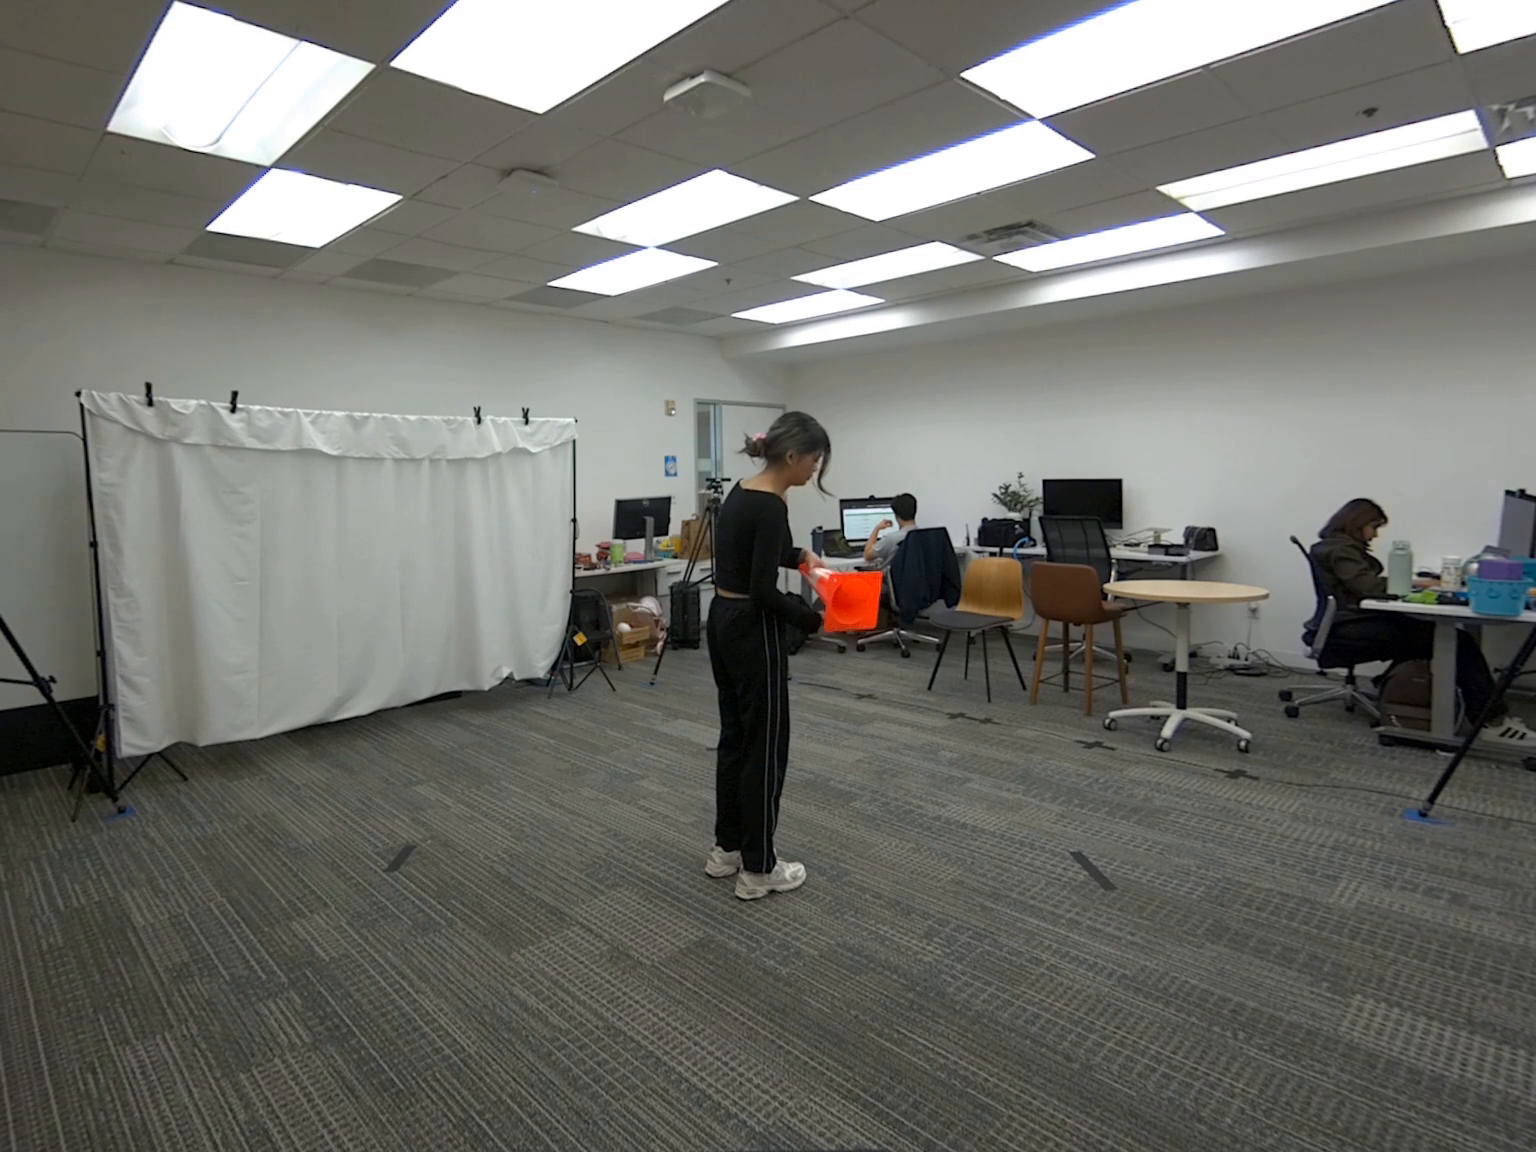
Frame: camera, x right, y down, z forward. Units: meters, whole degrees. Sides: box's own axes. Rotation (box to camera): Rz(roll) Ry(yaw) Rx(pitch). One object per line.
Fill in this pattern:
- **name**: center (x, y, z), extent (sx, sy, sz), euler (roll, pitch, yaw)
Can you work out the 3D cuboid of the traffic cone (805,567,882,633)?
- **traffic cone**: center (0.203, 0.030, 2.967), extent (0.201, 0.201, 0.396), euler (-3, 17, -22)
